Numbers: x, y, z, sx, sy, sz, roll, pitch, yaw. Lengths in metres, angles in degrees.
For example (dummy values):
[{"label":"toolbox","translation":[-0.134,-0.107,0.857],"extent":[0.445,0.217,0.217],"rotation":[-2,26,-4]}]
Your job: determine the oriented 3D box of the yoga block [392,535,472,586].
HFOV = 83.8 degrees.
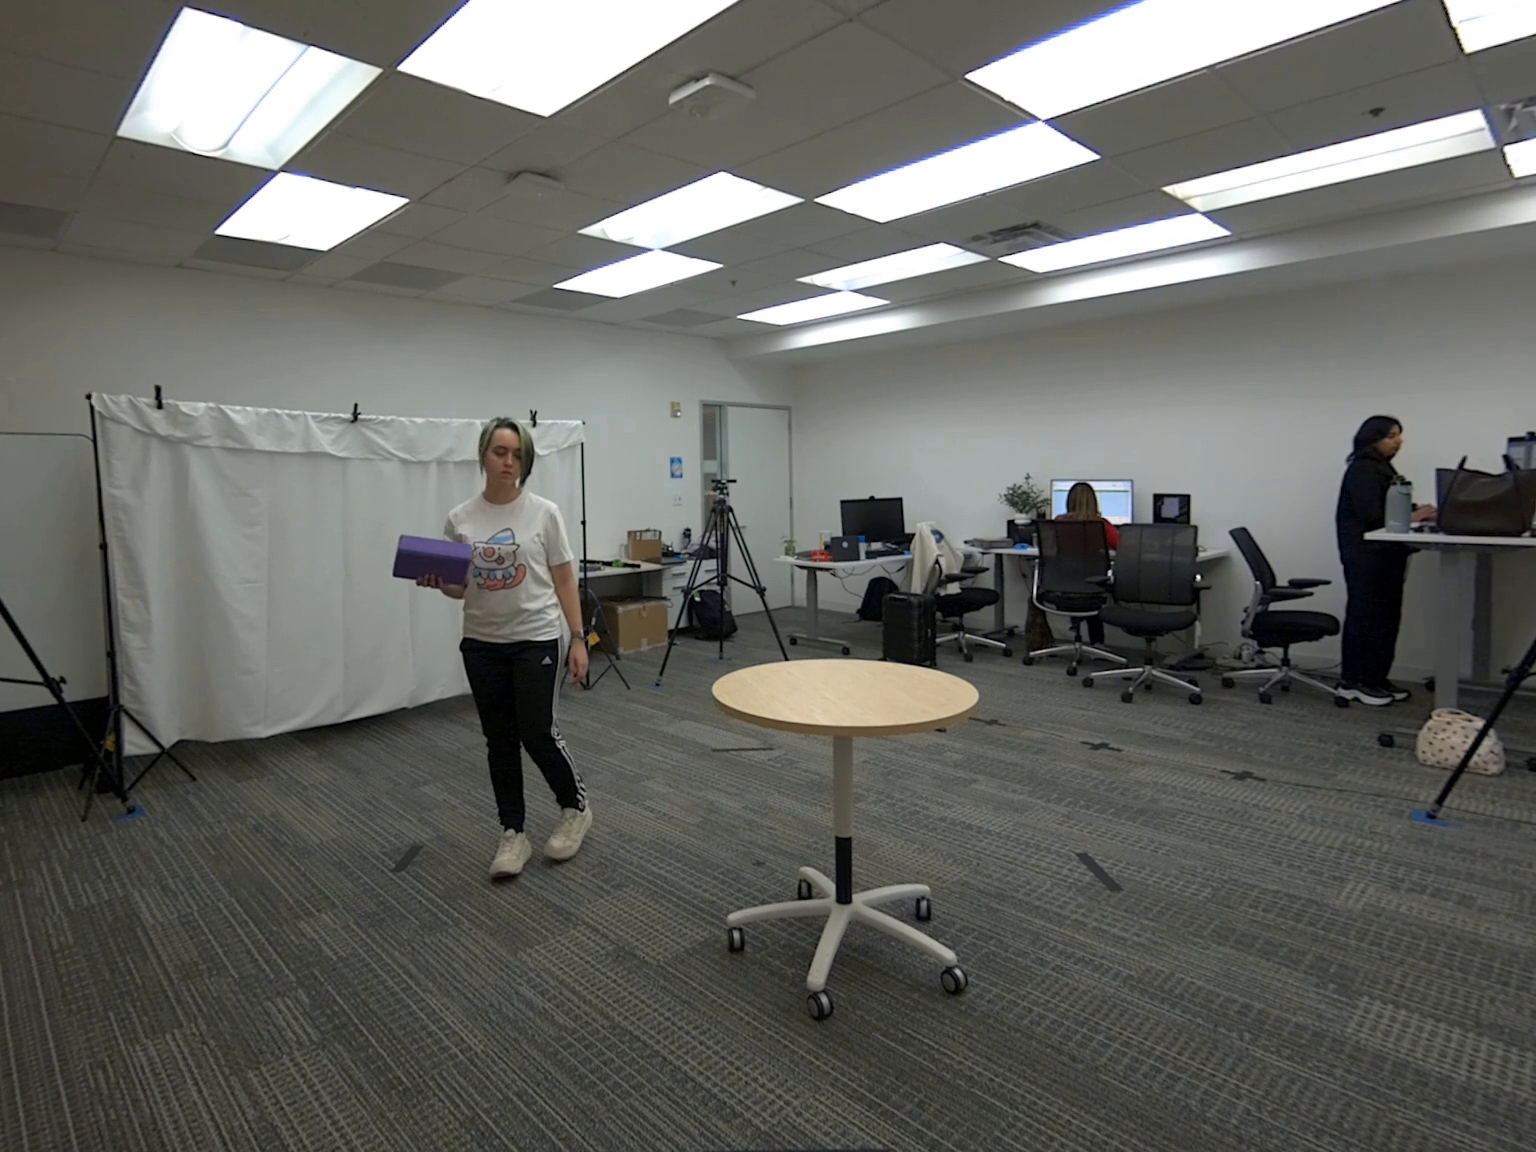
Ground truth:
[{"label":"yoga block","translation":[-1.125,-0.053,2.820],"extent":[0.224,0.079,0.148],"rotation":[9,-44,-24]}]
